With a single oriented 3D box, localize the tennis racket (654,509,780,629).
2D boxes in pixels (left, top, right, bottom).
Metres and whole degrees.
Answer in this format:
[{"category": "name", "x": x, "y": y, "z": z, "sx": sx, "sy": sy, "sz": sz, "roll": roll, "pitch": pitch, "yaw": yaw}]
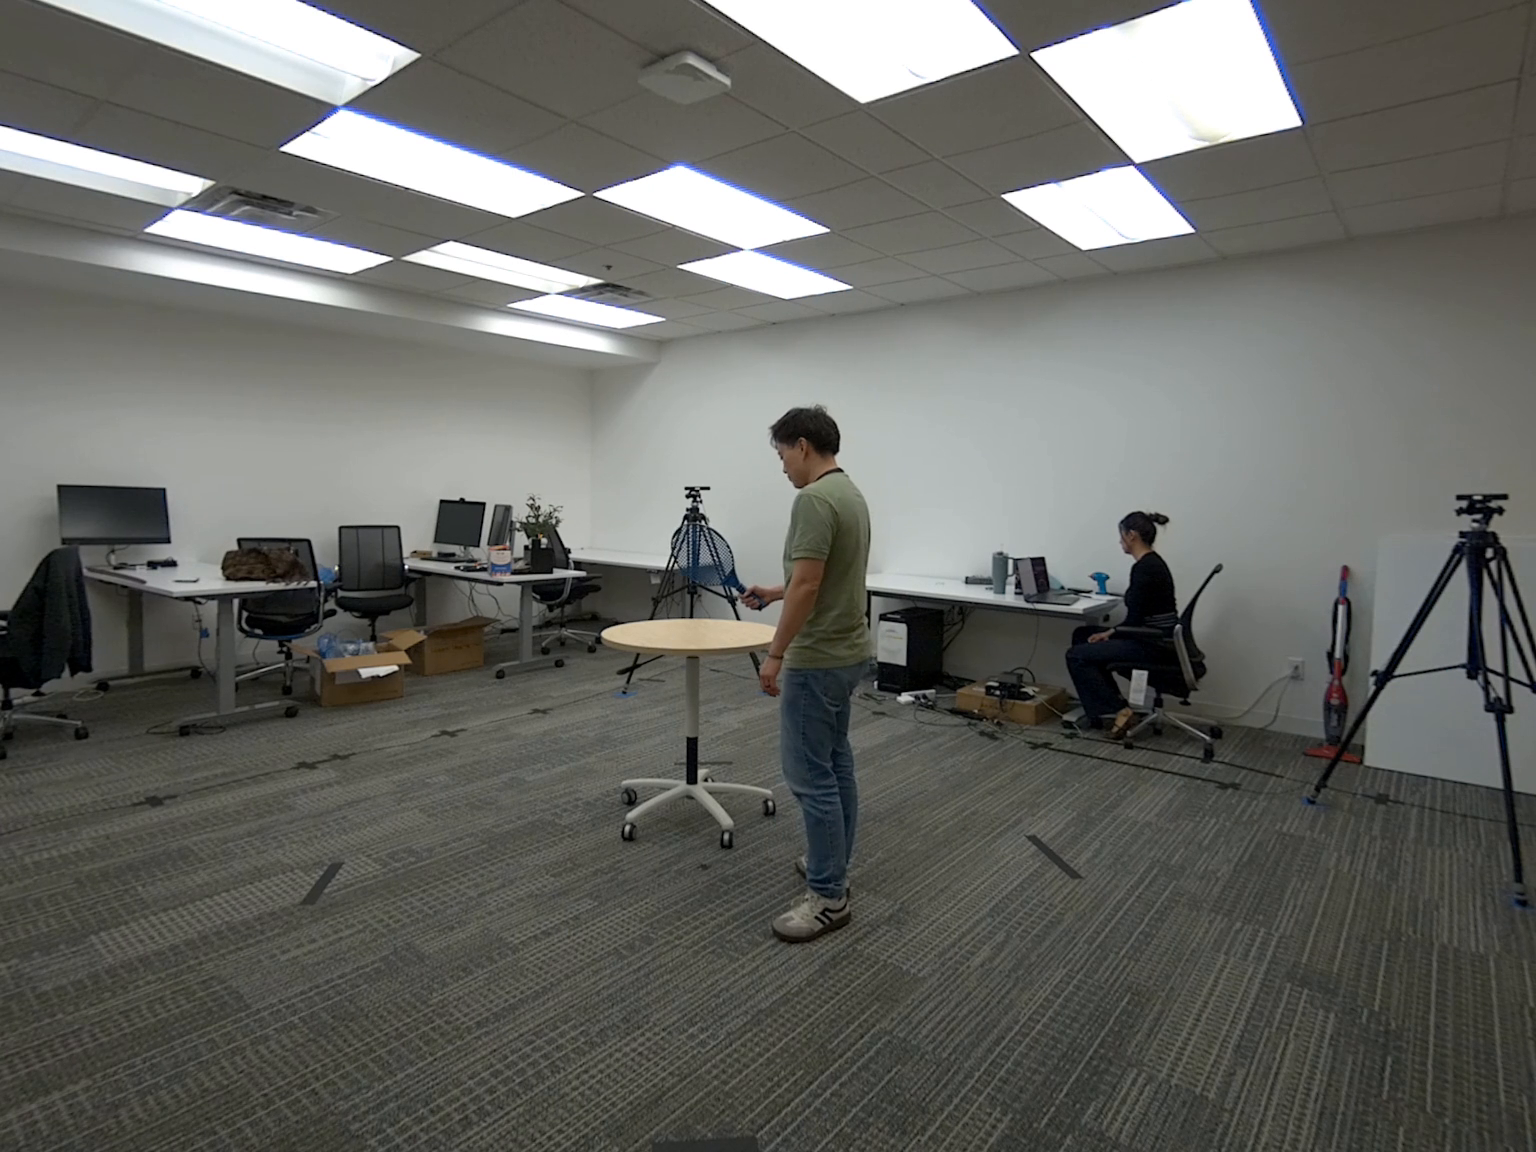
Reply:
[{"category": "tennis racket", "x": -0.195, "y": -0.030, "z": 3.114, "sx": 0.439, "sy": 0.213, "sz": 0.031, "roll": 40, "pitch": 18, "yaw": 9}]
